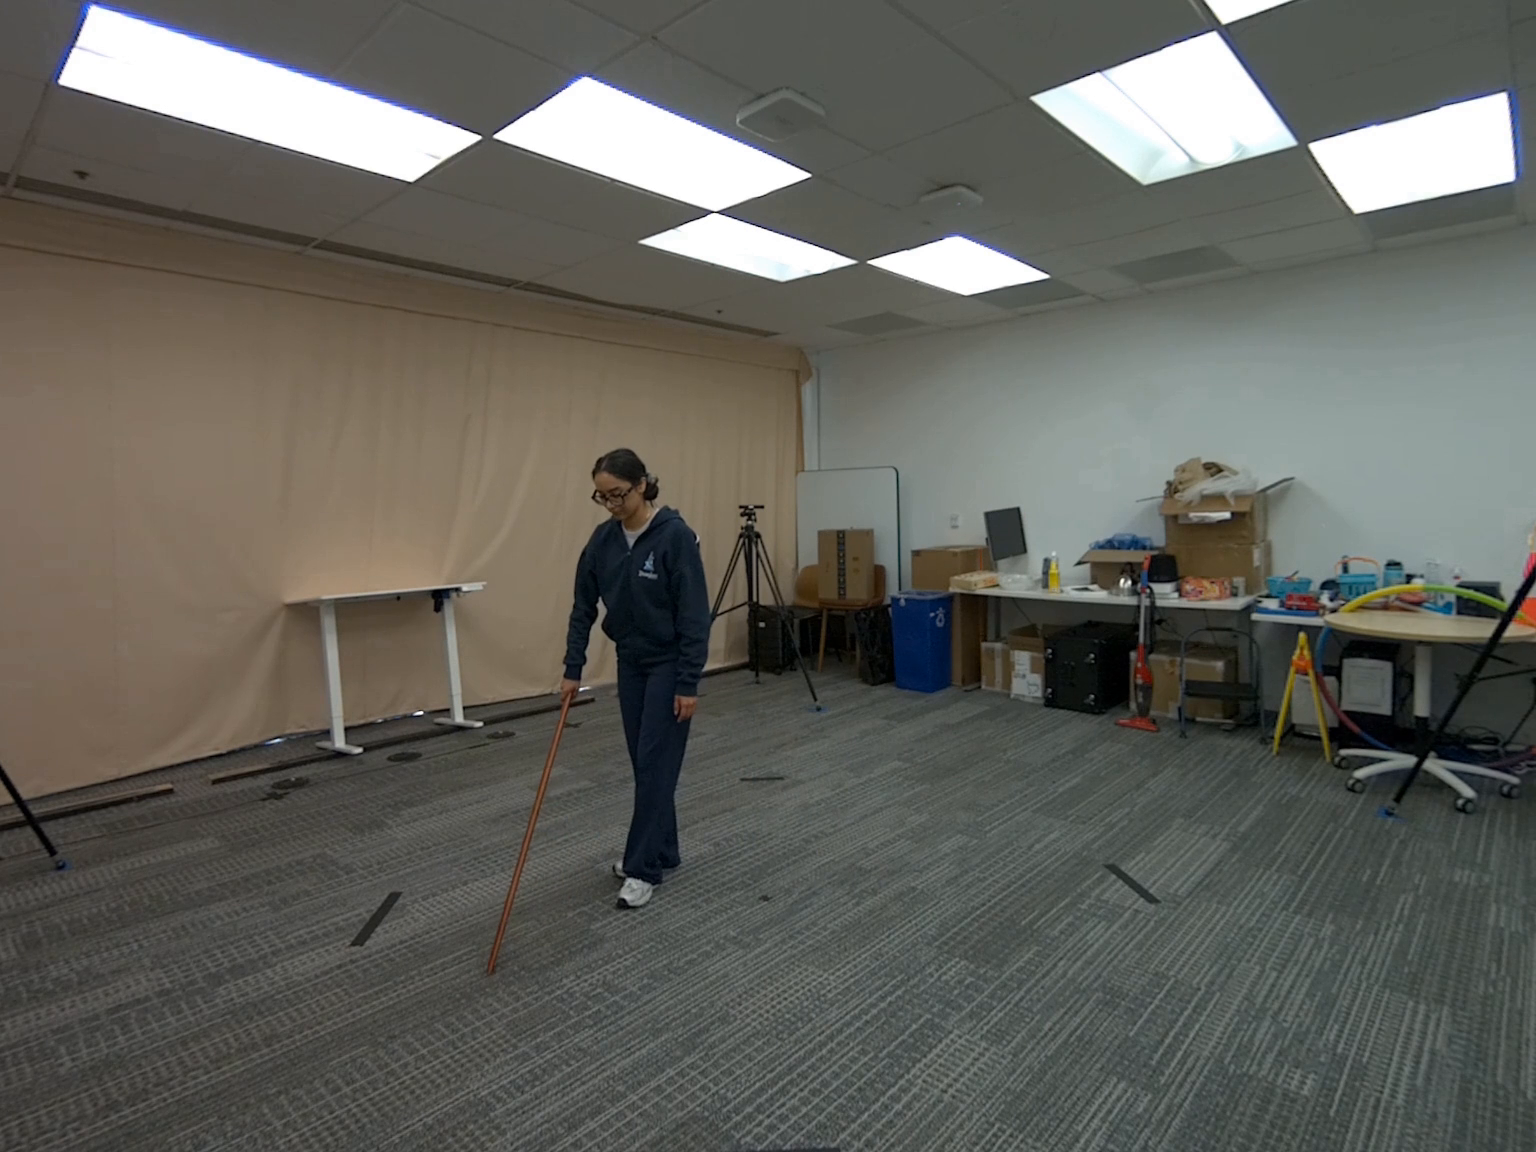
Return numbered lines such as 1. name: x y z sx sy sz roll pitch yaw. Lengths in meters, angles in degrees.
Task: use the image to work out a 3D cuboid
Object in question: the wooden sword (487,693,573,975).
1. wooden sword: -0.780 0.803 2.846 0.024 1.037 0.051 13 -39 -5
